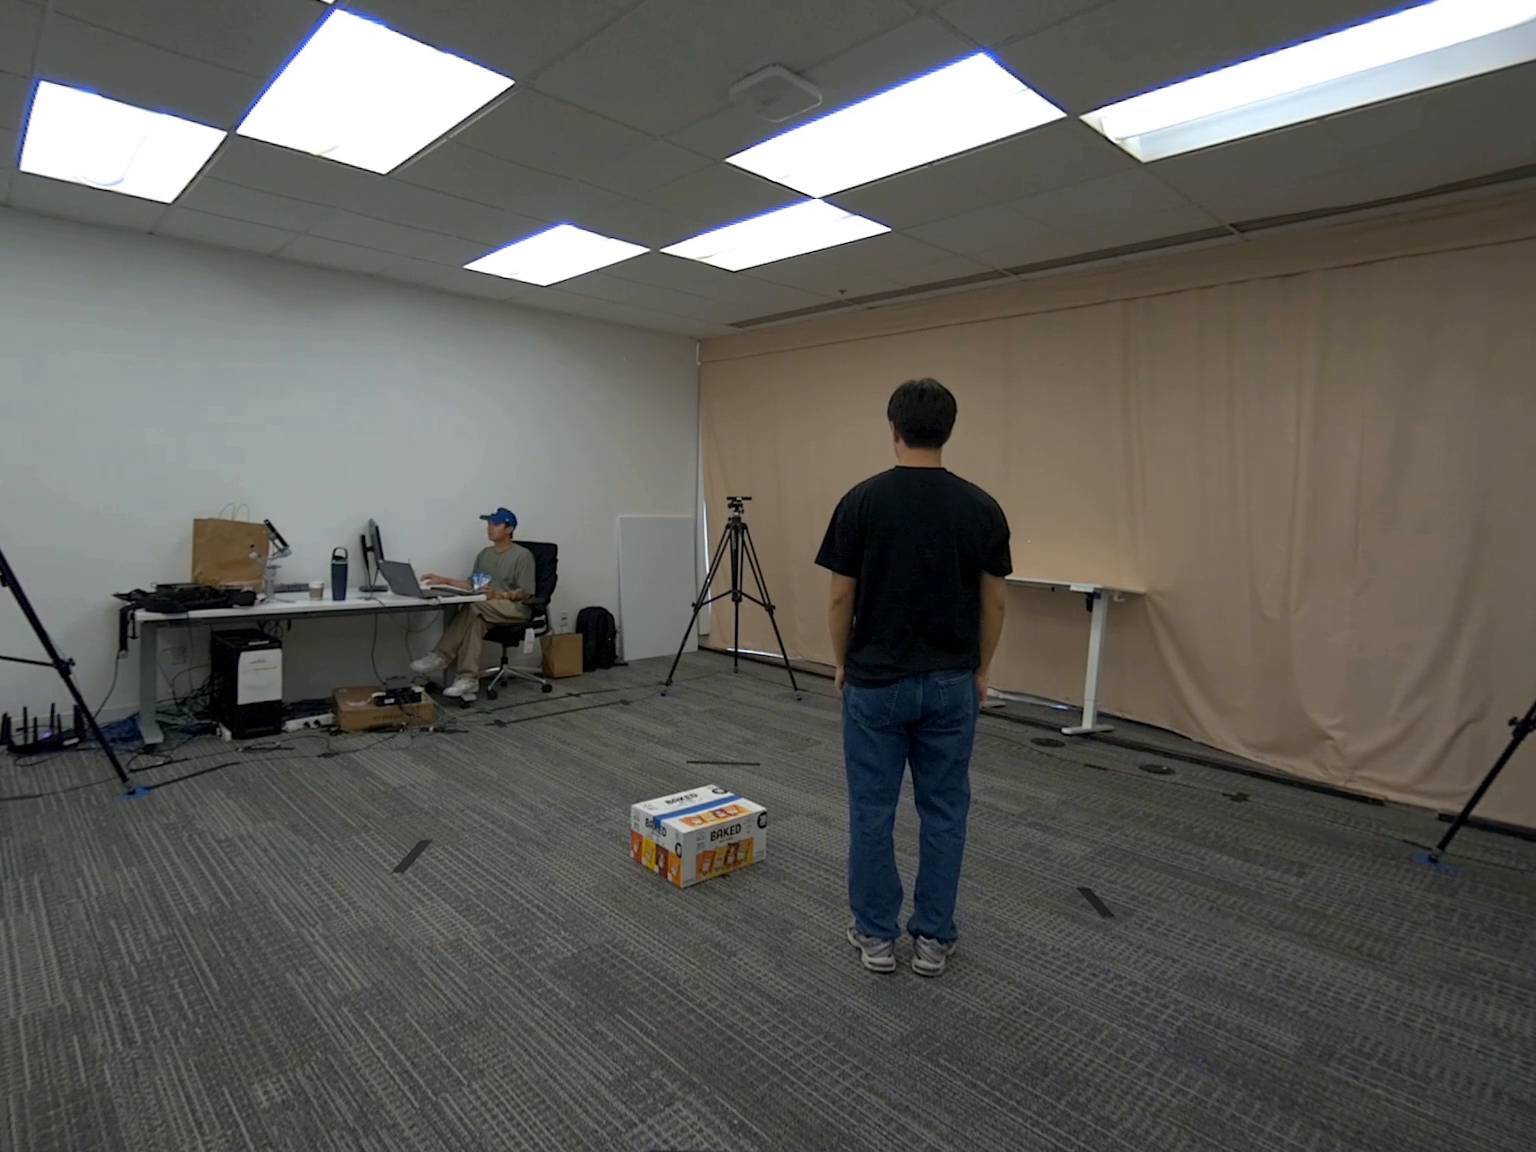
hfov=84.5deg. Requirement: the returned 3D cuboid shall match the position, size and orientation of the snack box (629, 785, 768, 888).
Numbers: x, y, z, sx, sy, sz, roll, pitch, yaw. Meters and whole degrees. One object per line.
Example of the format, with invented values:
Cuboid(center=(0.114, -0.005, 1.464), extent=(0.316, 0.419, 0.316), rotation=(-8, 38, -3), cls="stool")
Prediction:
Cuboid(center=(-0.271, 0.992, 3.239), extent=(0.396, 0.205, 0.349), rotation=(-3, 6, -41), cls="snack box")
